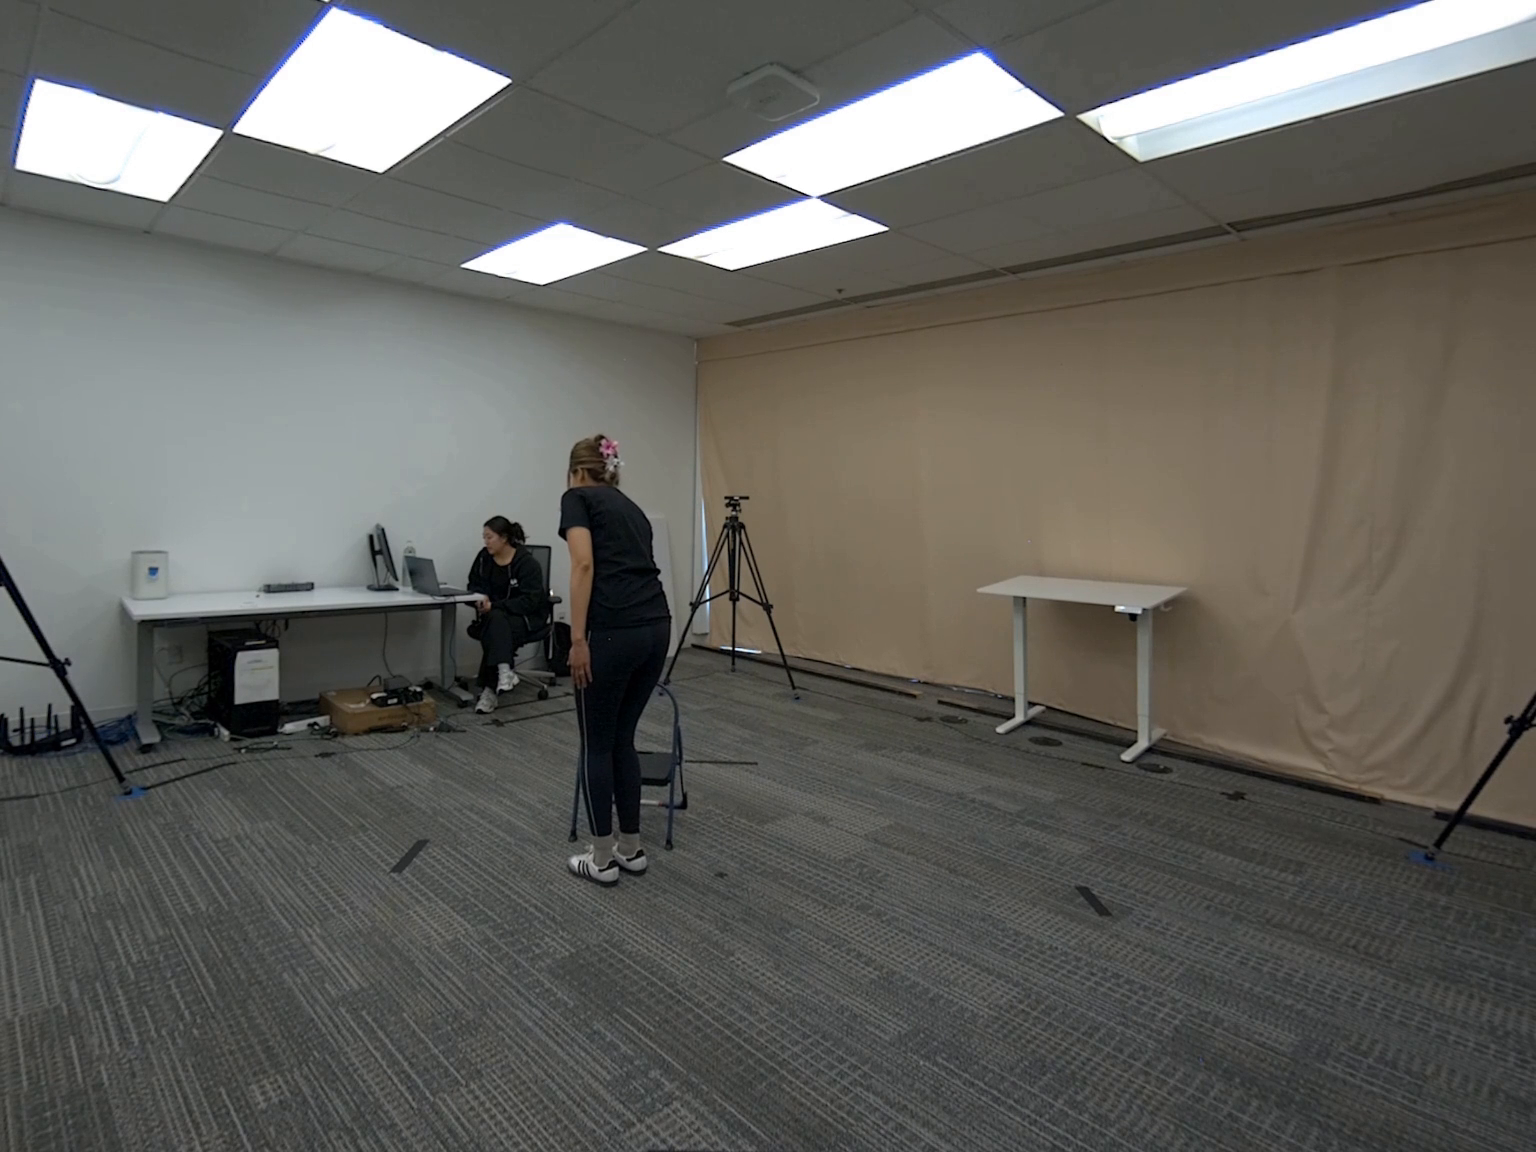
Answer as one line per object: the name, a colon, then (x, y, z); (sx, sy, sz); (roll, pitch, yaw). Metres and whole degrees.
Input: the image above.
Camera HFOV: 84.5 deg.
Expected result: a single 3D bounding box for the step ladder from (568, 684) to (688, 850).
step ladder: (-0.572, 0.741, 3.457); (0.433, 0.601, 0.350); (2, 12, 8)
